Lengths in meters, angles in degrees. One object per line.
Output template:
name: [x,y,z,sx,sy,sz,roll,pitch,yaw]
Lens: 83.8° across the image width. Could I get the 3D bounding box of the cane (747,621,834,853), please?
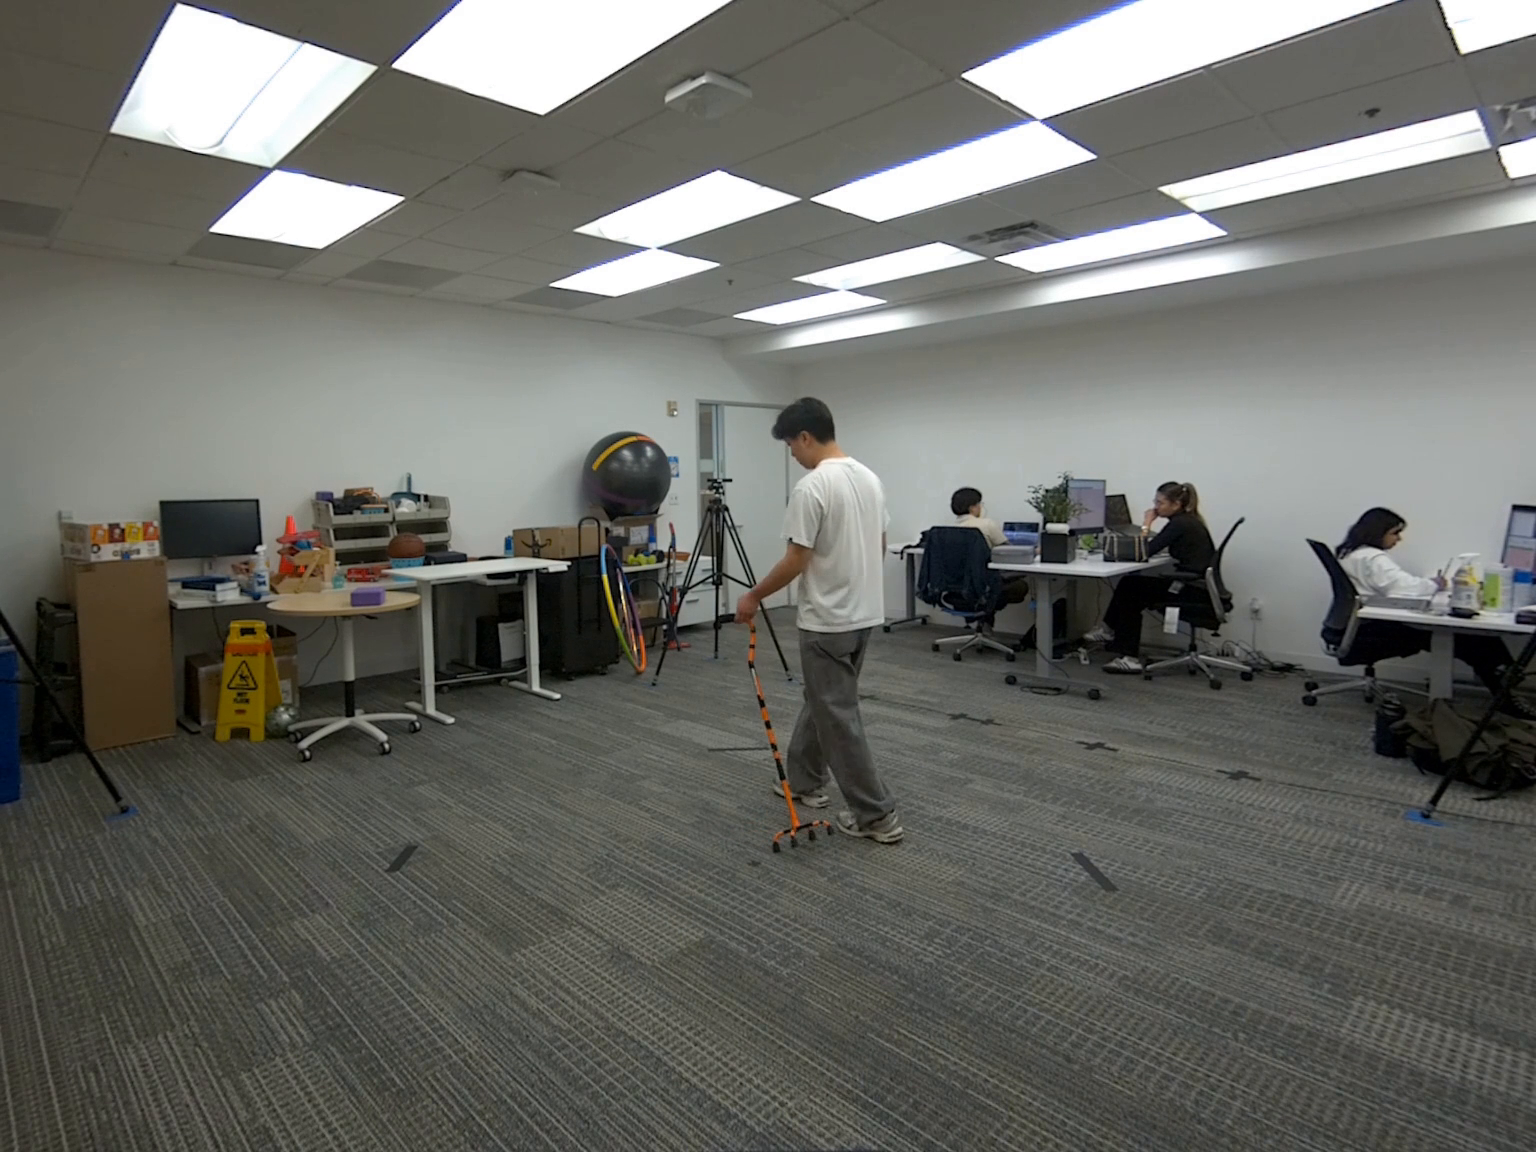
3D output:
cane: [0.003,0.582,3.335,0.202,0.925,0.152,-7,-19,-32]
